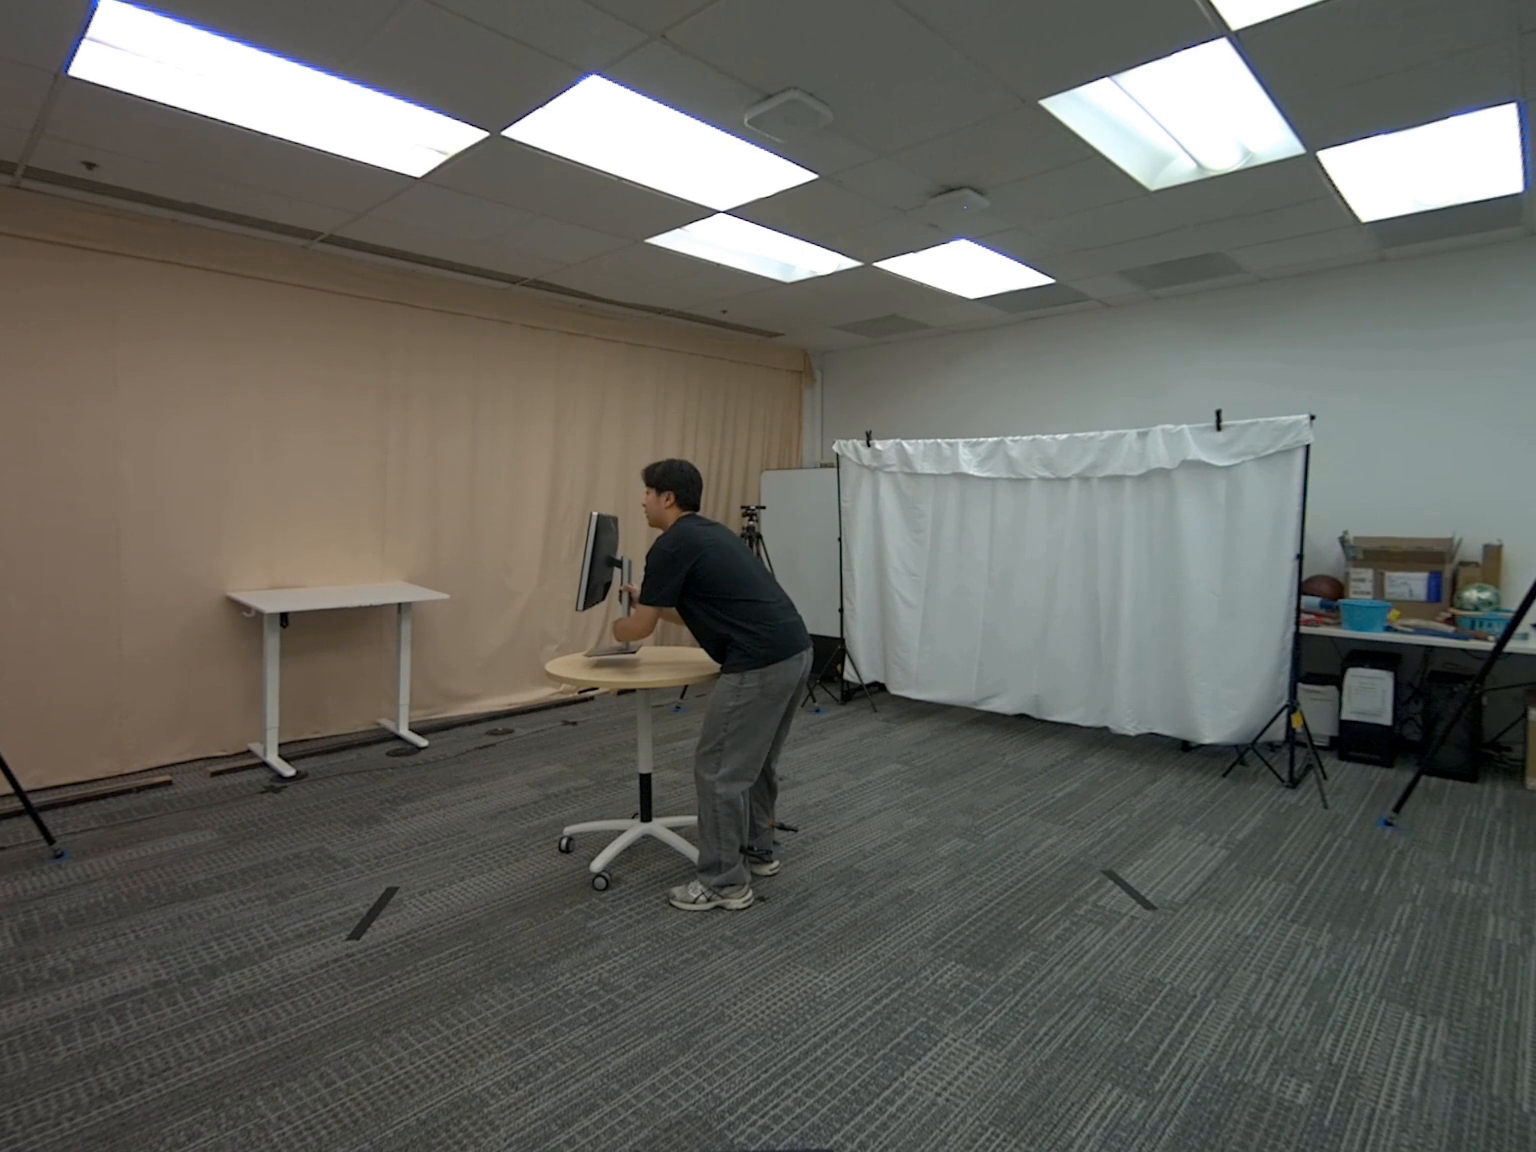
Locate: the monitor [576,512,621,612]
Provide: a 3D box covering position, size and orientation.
[{"bbox_3d":[-0.629,0.043,3.301,0.222,0.566,0.561,-6,1,0],"label":"monitor"}]
